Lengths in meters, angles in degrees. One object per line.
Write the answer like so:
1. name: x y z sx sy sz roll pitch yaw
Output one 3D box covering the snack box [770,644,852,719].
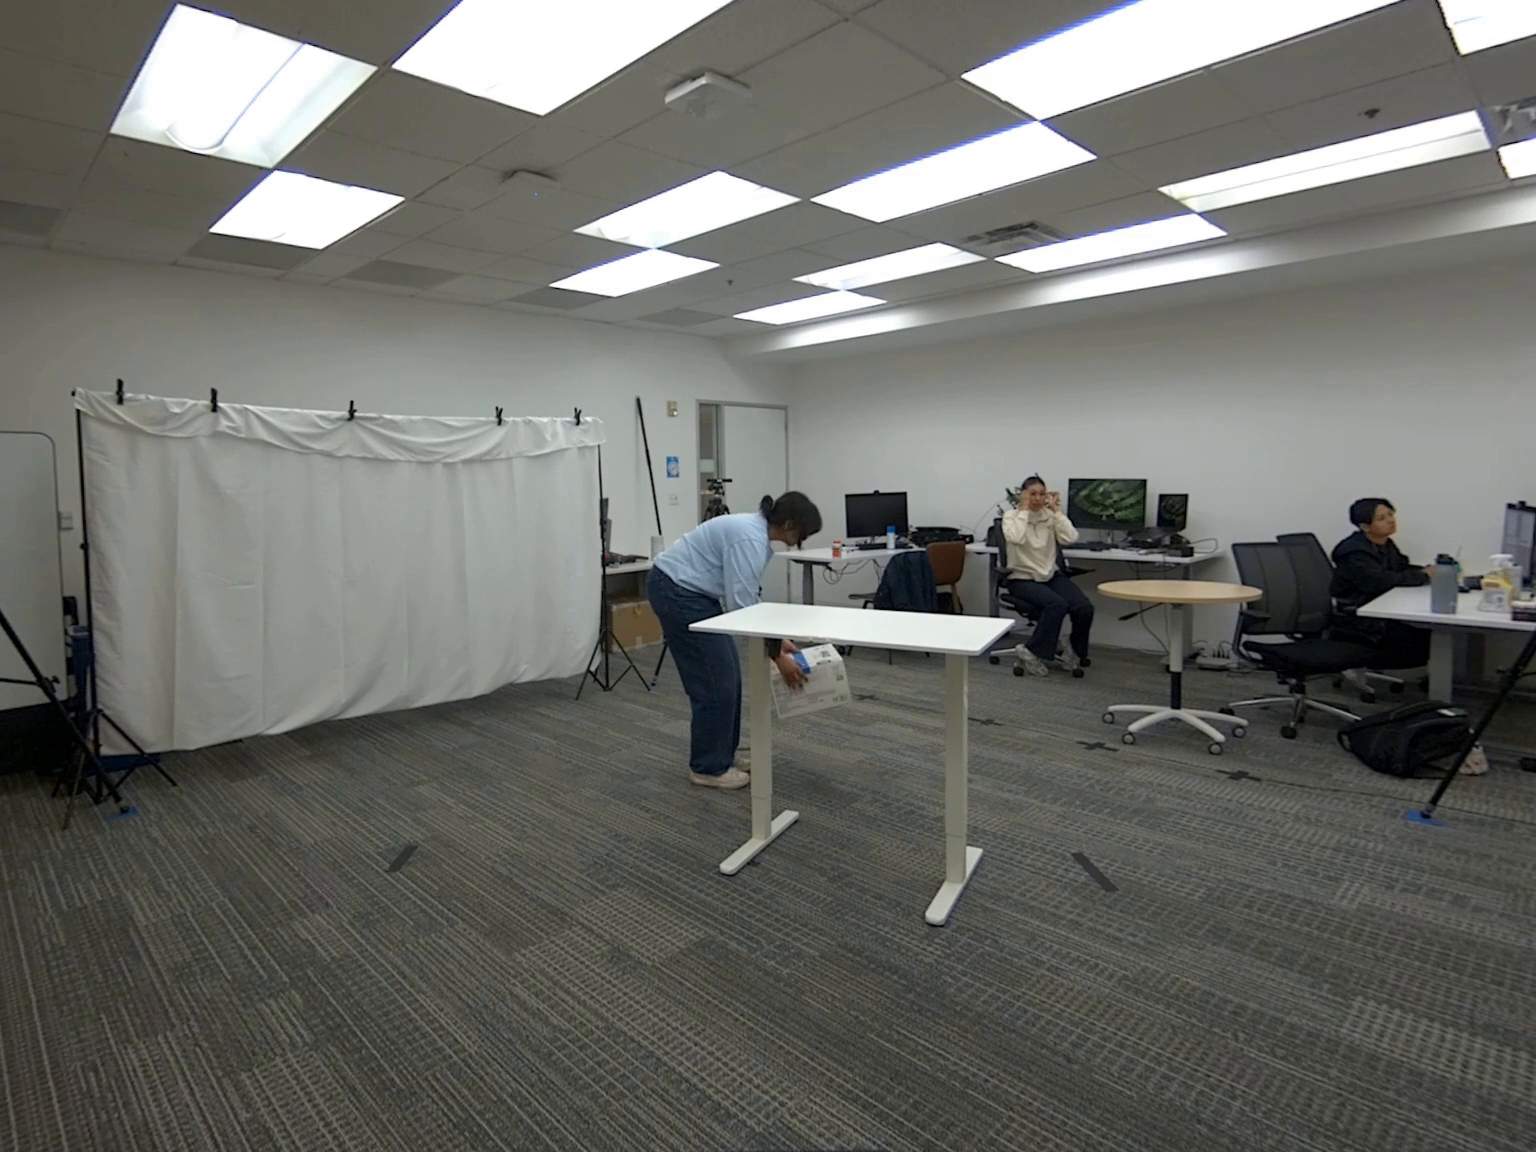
1. snack box: 0.171 0.486 3.984 0.340 0.205 0.407 -14 5 -1
